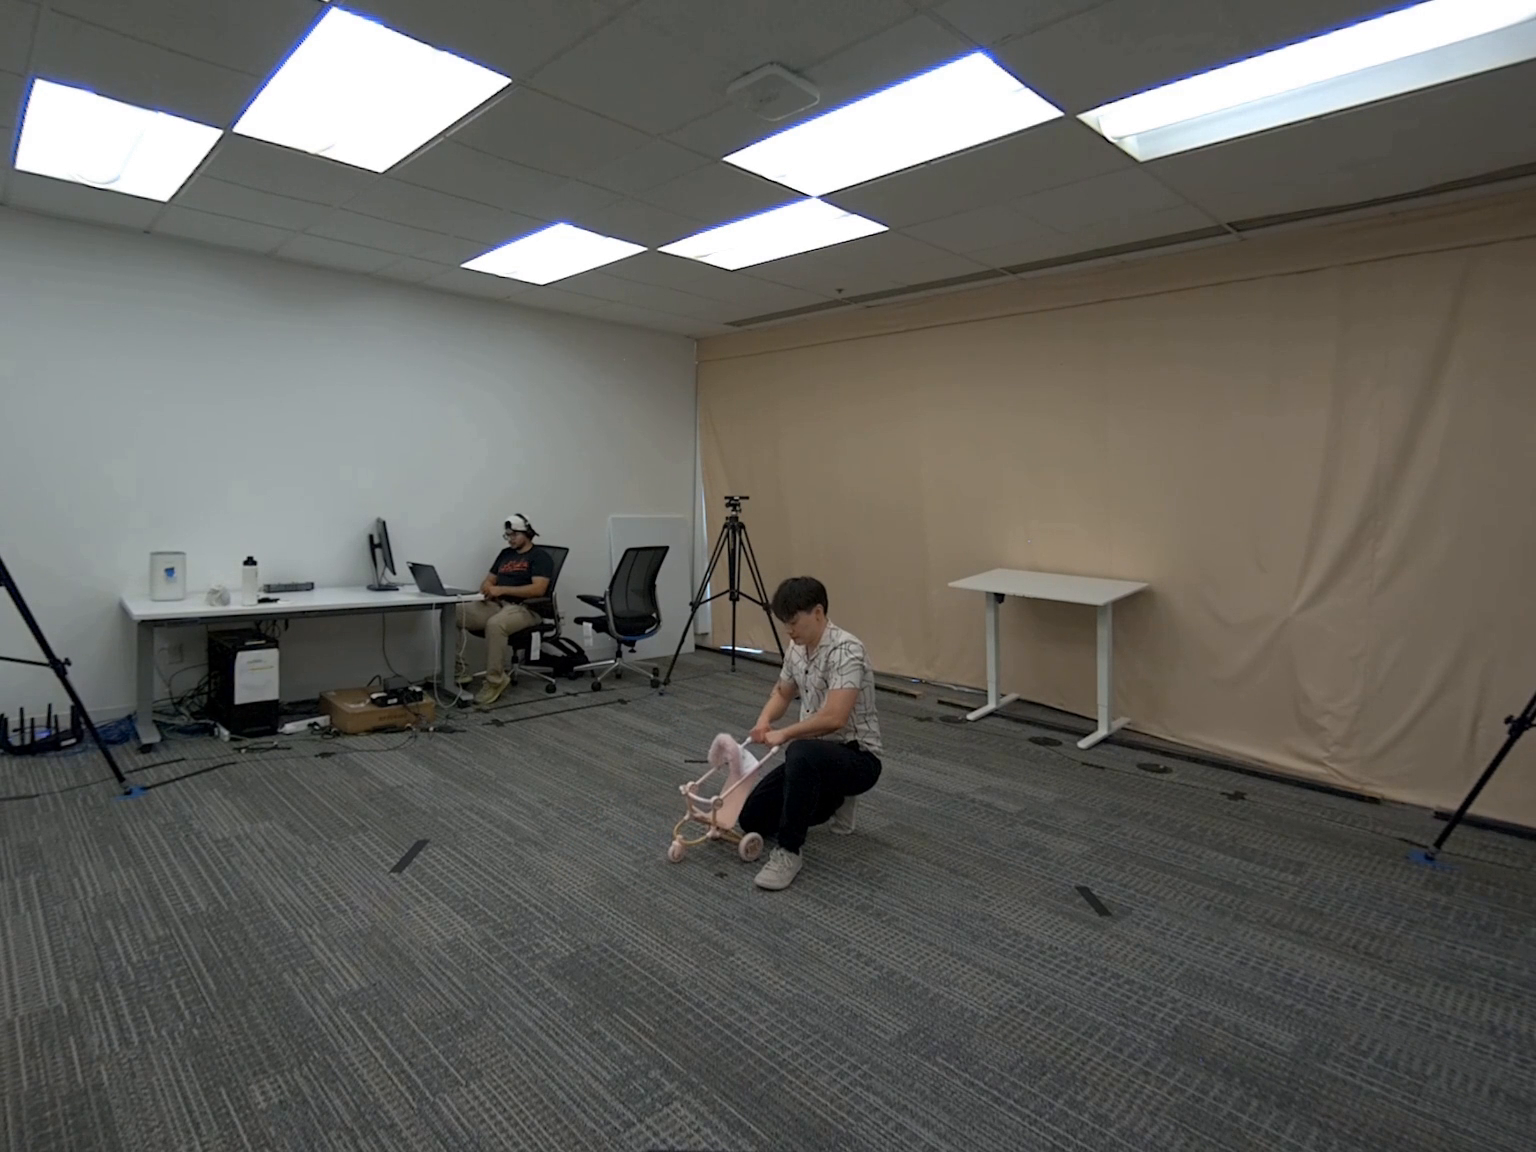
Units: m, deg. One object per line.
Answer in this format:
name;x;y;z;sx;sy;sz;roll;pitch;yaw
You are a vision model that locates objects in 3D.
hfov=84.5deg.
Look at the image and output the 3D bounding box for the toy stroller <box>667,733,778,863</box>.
toy stroller;-0.195;0.855;3.288;0.333;0.536;0.287;18;-5;-27
